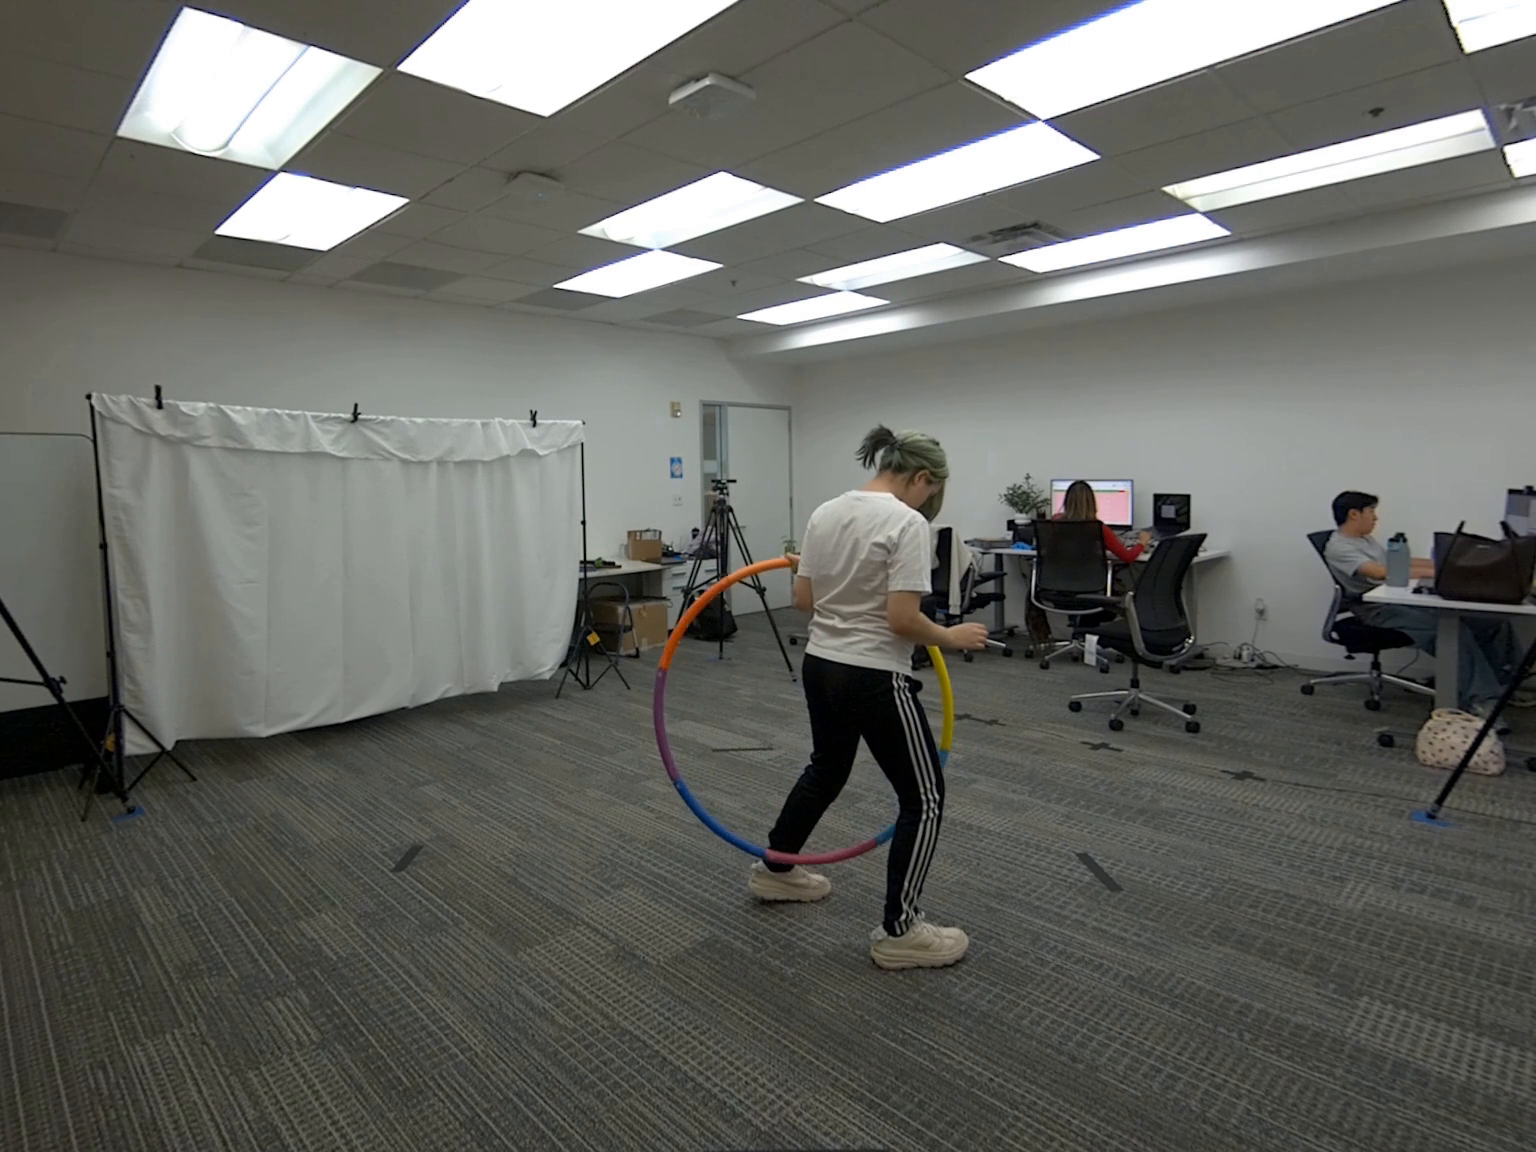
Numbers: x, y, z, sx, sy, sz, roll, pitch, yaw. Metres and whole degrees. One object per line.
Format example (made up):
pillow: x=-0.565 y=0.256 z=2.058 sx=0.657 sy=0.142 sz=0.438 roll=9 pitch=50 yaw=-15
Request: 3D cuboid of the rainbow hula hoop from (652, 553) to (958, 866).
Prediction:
rainbow hula hoop: x=0.114 y=0.428 z=2.810 sx=0.981 sy=0.986 sz=0.035 roll=-1 pitch=-8 yaw=3
